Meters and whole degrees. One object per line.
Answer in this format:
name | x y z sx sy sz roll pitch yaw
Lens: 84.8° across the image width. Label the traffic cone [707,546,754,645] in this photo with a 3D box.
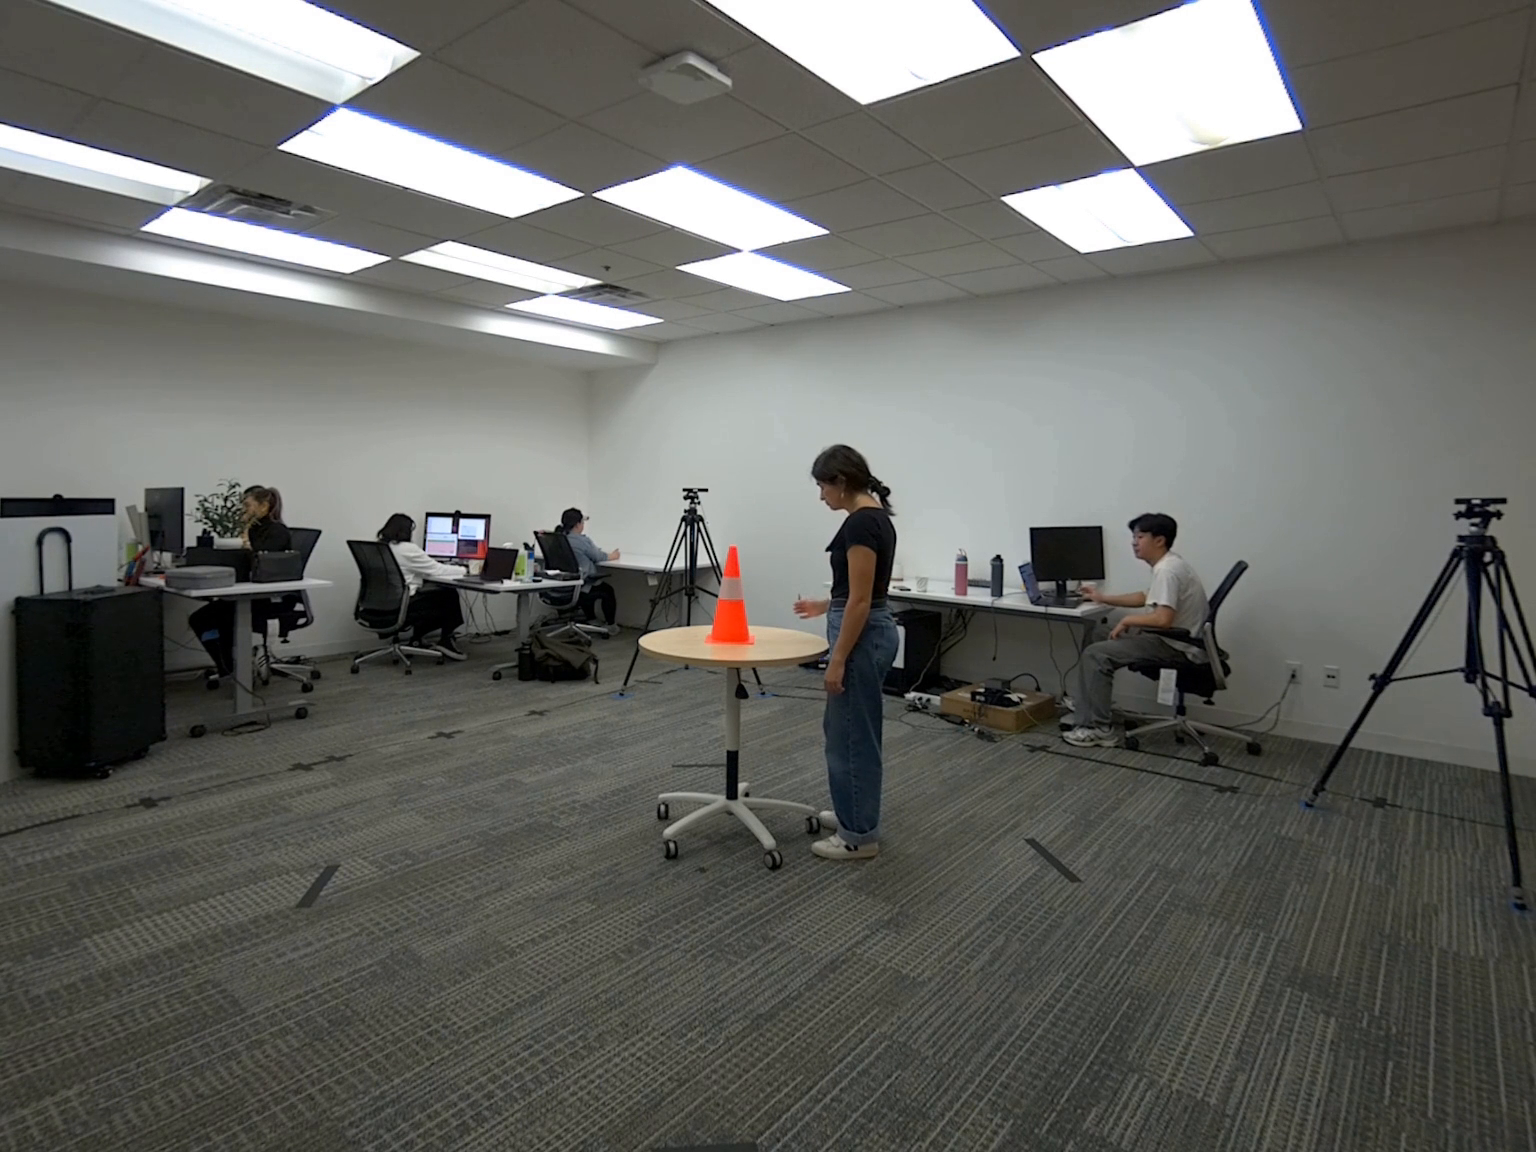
traffic cone | -0.146 0.063 3.446 0.205 0.382 0.204 2 4 0
